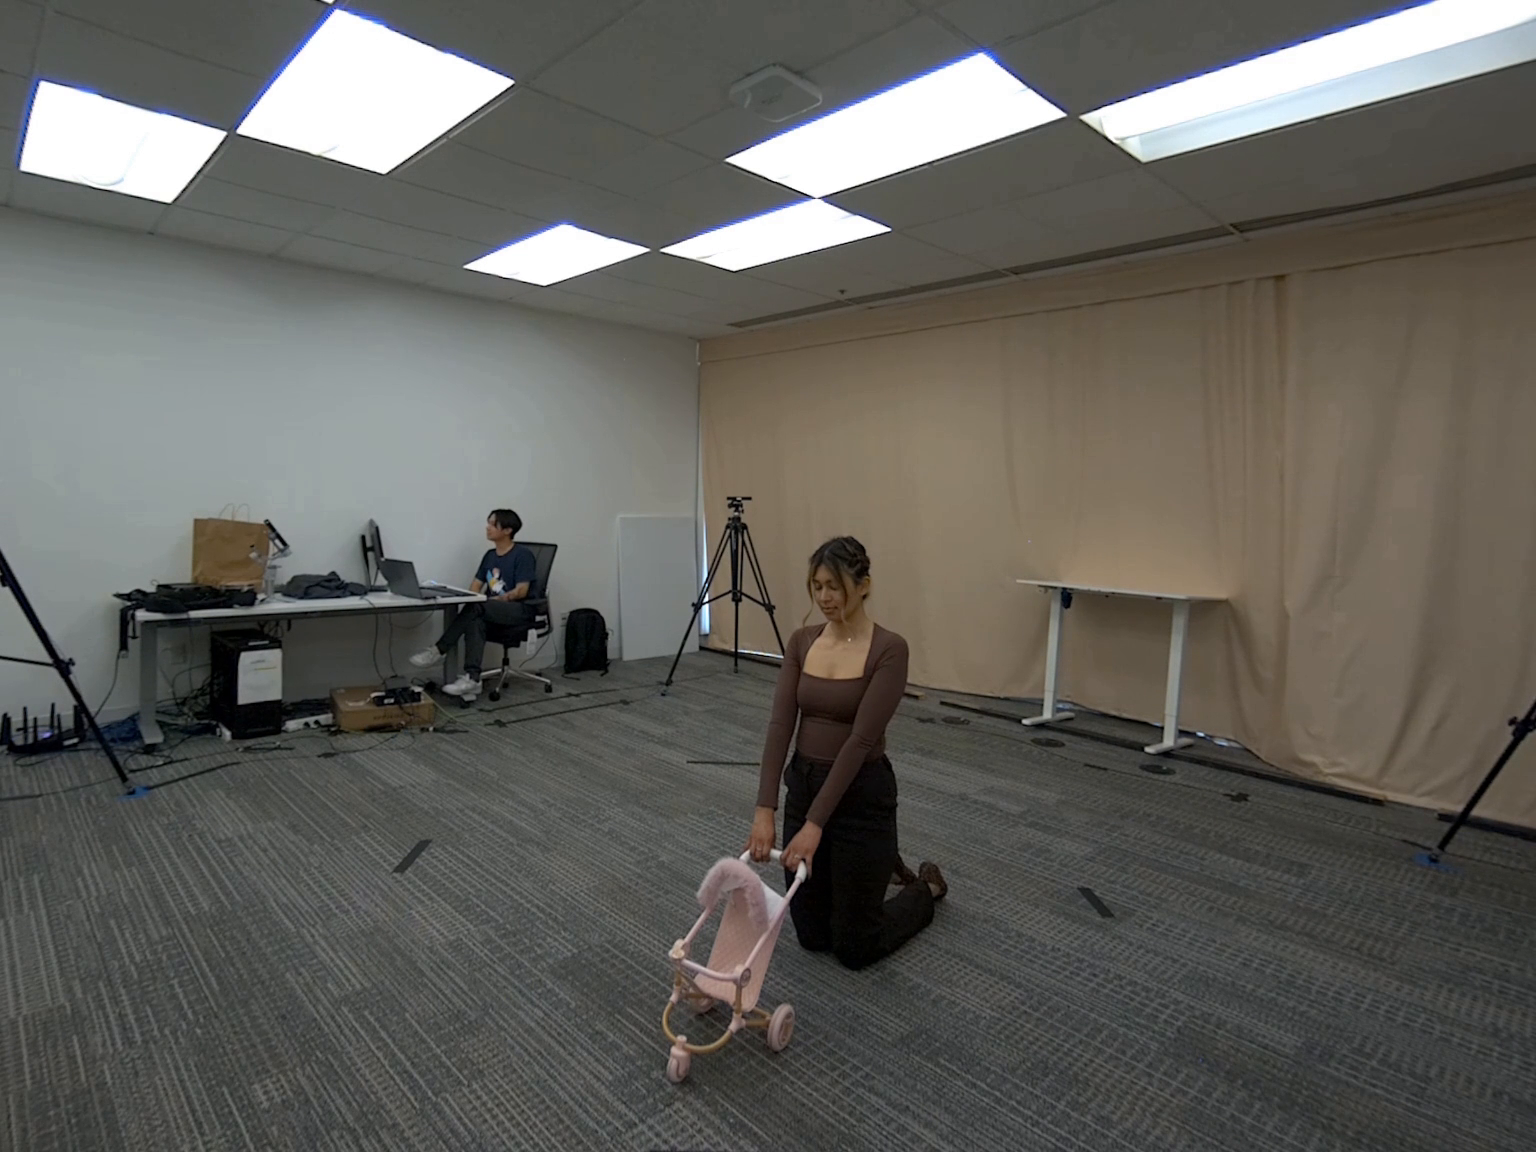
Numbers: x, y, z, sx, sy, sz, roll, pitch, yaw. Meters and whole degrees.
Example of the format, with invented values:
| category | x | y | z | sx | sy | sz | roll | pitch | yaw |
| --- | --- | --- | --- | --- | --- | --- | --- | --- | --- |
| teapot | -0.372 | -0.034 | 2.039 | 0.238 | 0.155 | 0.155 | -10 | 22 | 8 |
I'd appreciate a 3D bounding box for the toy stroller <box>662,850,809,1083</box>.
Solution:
| category | x | y | z | sx | sy | sz | roll | pitch | yaw |
| --- | --- | --- | --- | --- | --- | --- | --- | --- | --- |
| toy stroller | -0.105 | 0.974 | 2.148 | 0.288 | 0.538 | 0.331 | 4 | -14 | 40 |
